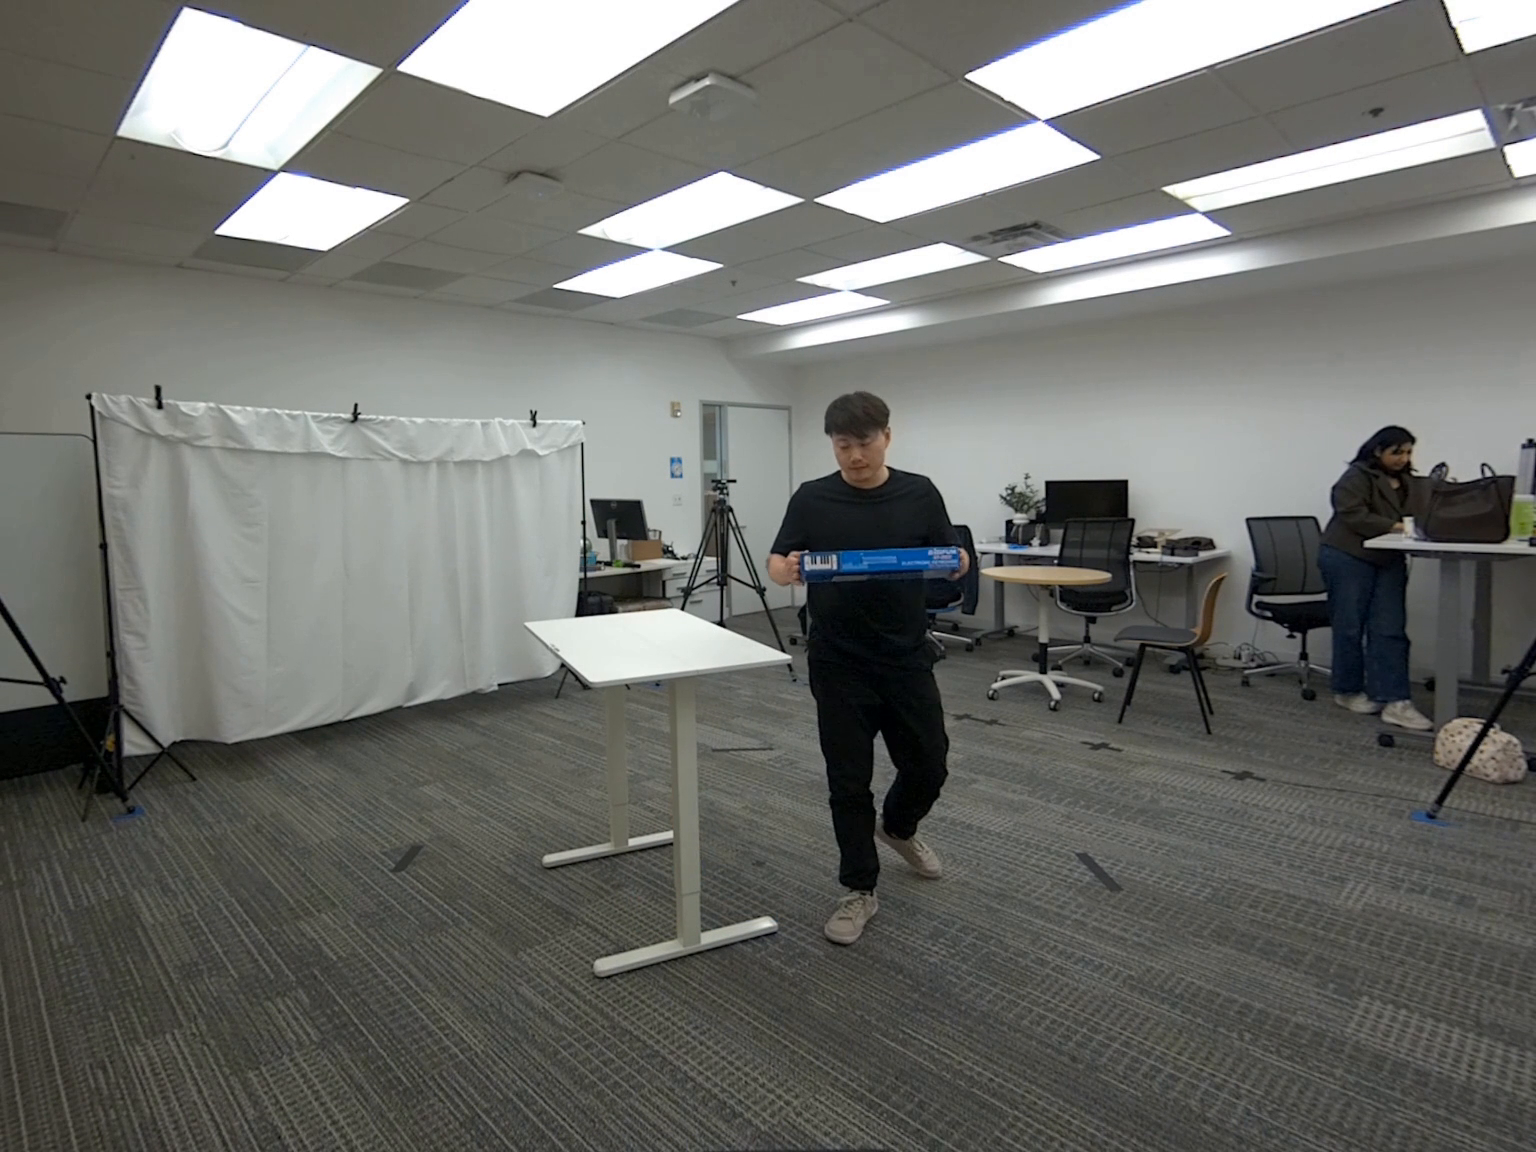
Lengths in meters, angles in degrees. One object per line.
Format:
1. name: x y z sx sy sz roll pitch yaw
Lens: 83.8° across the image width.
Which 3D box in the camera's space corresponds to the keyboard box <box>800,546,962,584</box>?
1. keyboard box: 0.311 -0.027 2.455 0.438 0.059 0.174 -2 -8 2
